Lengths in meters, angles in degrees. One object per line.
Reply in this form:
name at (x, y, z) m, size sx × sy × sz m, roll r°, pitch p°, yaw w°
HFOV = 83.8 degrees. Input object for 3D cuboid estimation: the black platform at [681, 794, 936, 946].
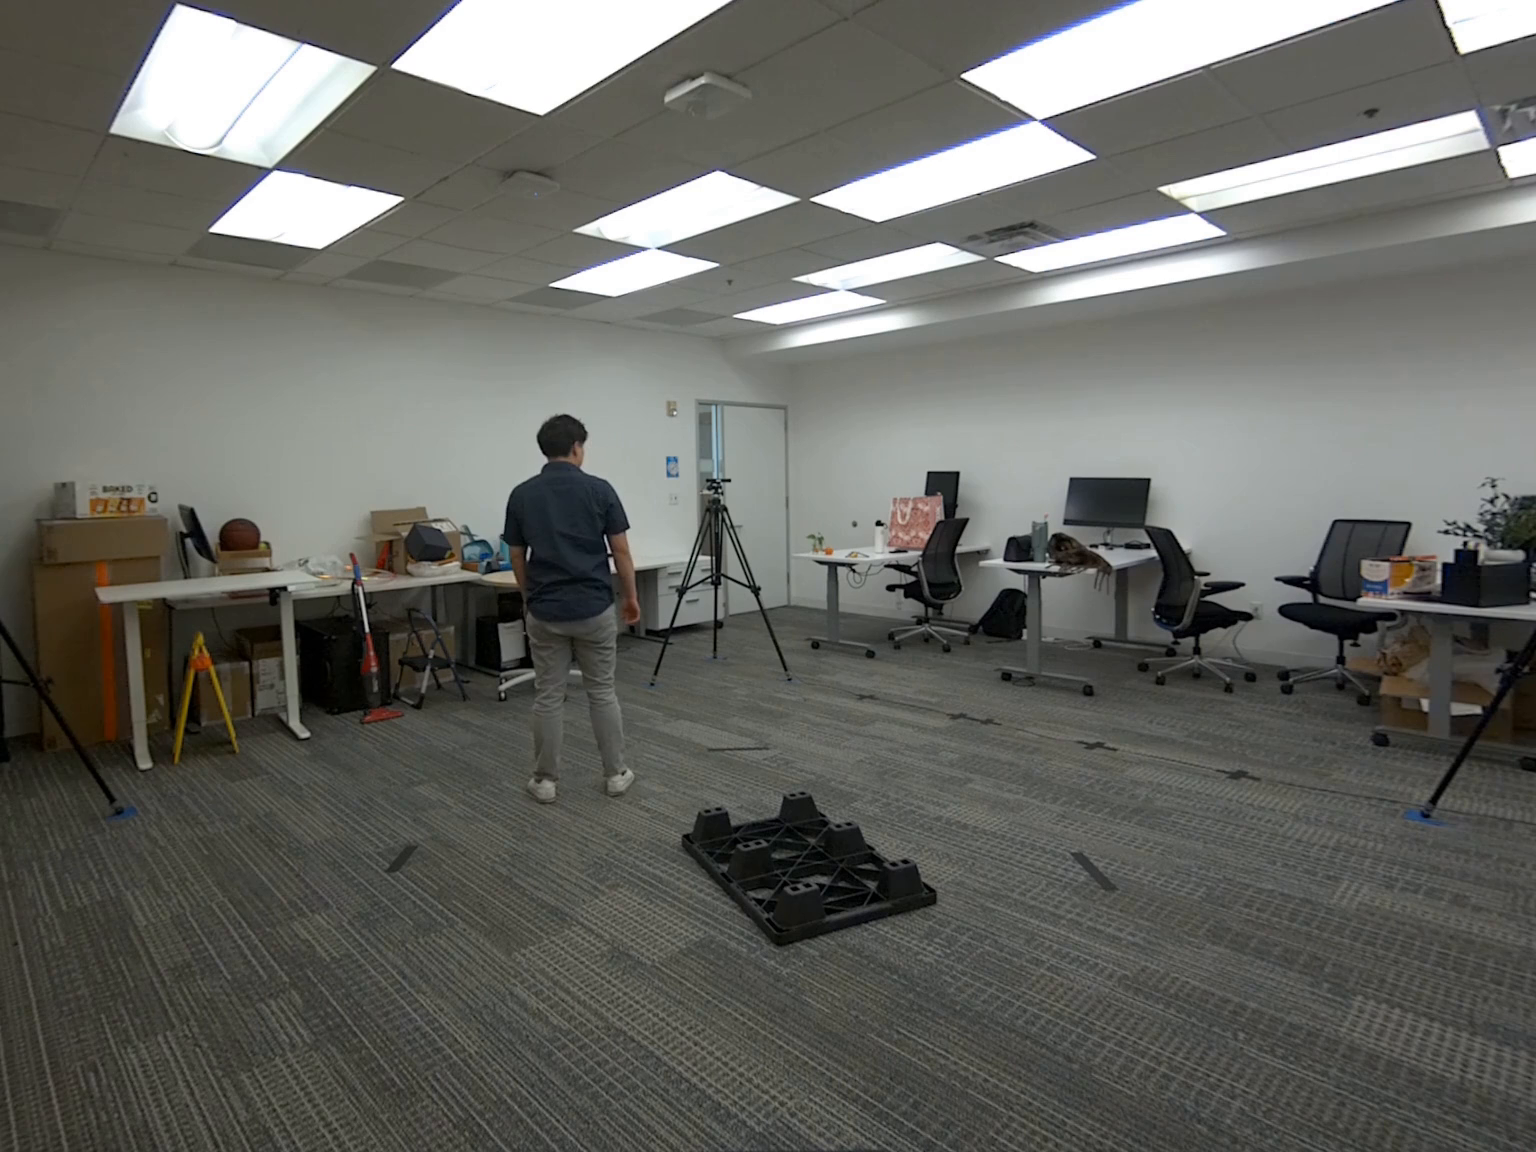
black platform at (0.107, 0.982, 3.029) m, size 0.592 × 0.143 × 0.826 m, roll -4°, pitch 7°, yaw -26°
